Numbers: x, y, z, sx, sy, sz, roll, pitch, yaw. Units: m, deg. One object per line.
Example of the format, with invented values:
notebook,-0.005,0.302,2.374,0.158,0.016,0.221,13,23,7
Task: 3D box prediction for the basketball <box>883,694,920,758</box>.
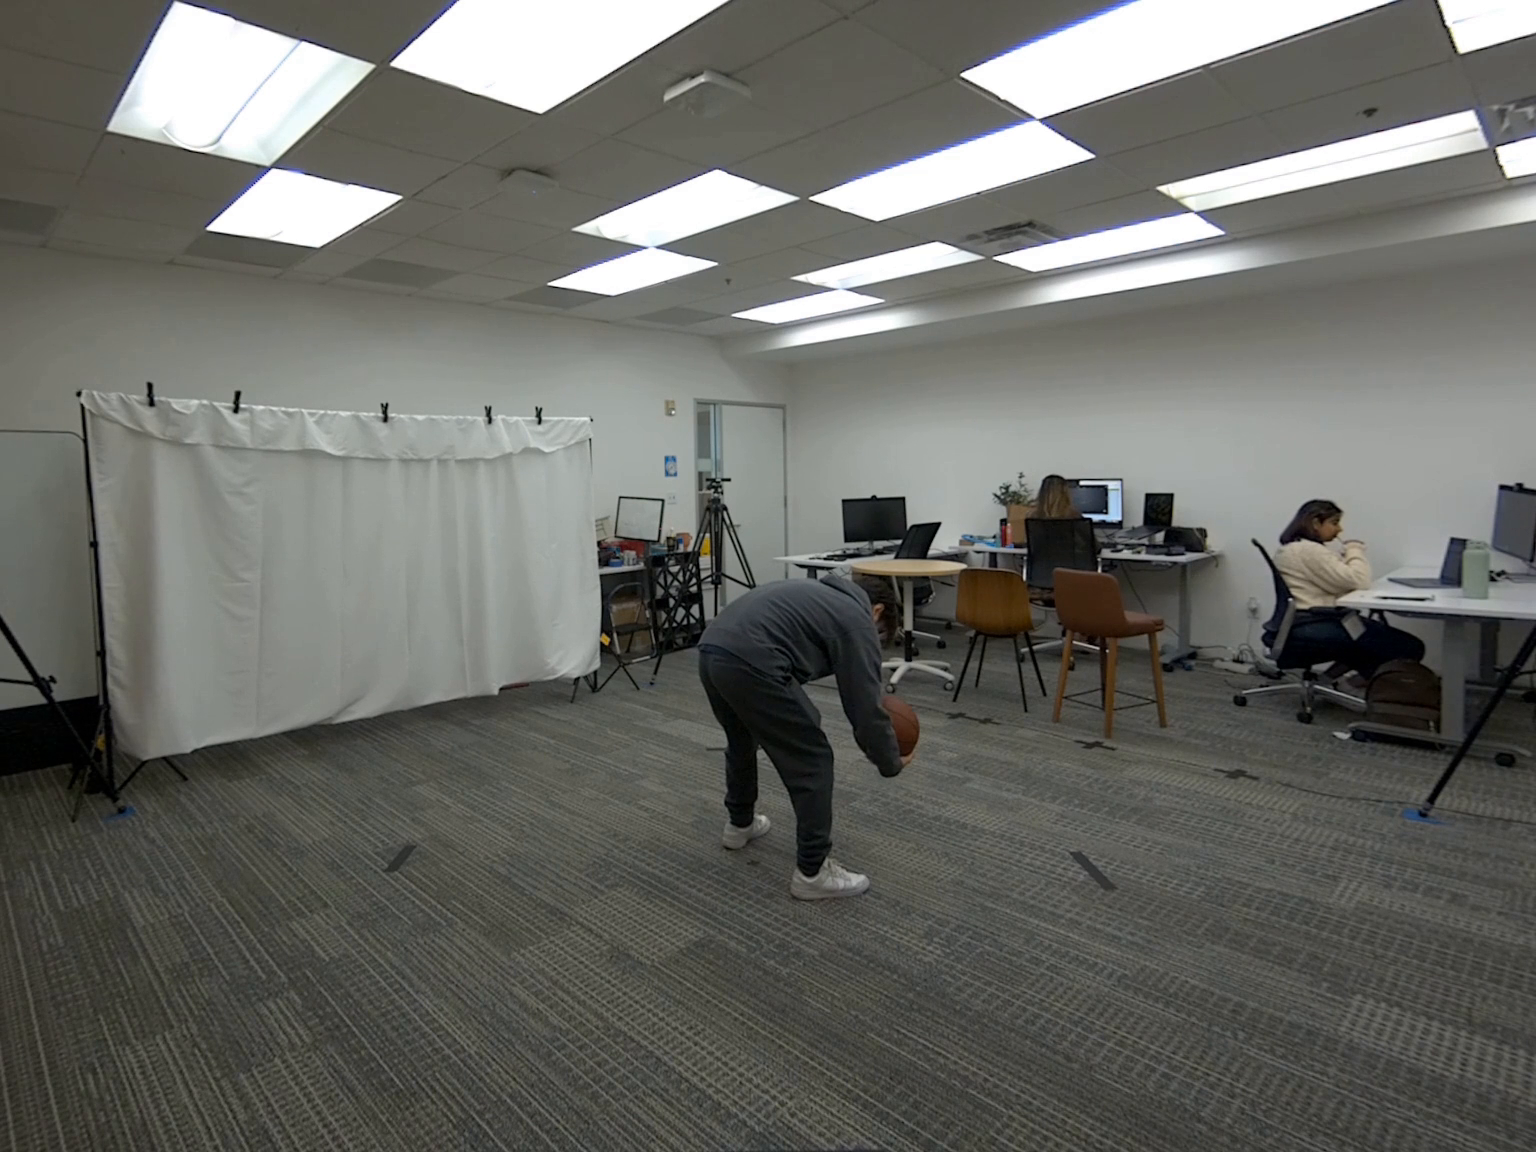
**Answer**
basketball,0.423,0.545,3.097,0.236,0.235,0.237,-1,5,-2
